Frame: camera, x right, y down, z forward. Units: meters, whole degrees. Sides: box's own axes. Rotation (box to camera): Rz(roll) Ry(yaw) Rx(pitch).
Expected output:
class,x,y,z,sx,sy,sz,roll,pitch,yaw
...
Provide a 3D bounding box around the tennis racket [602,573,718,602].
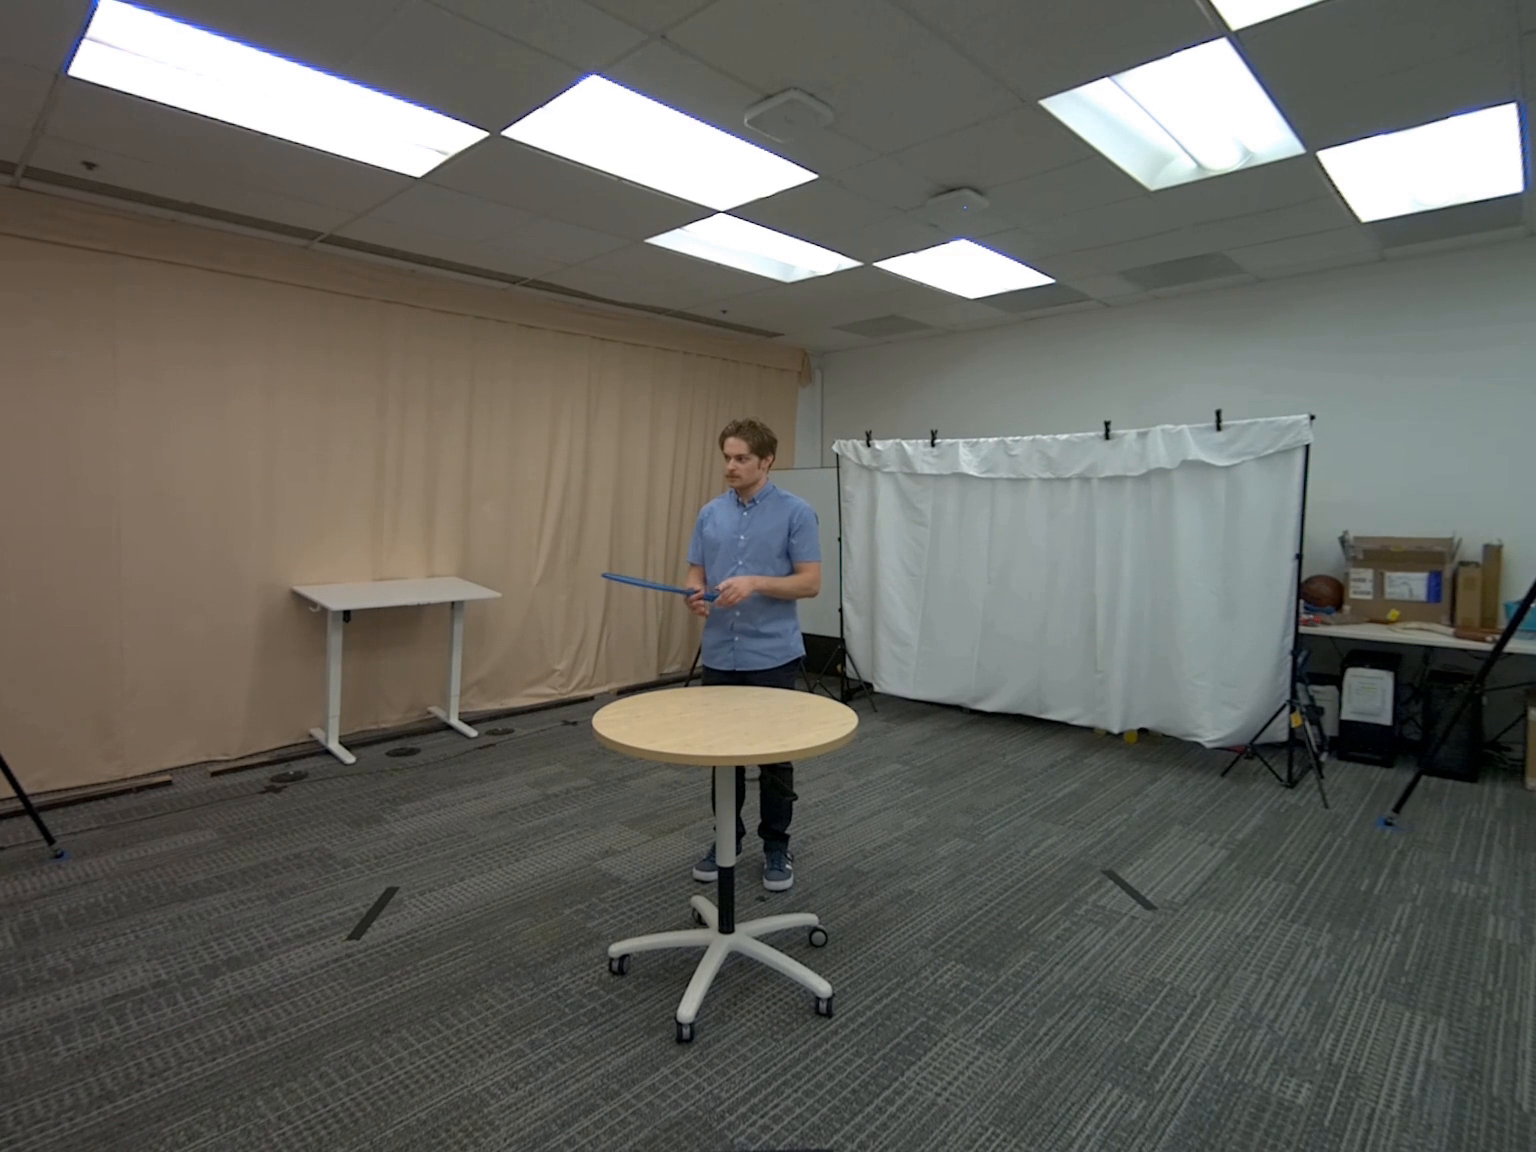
class,x,y,z,sx,sy,sz,roll,pitch,yaw
tennis racket,-0.359,0.036,2.873,0.421,0.032,0.219,11,1,-25
